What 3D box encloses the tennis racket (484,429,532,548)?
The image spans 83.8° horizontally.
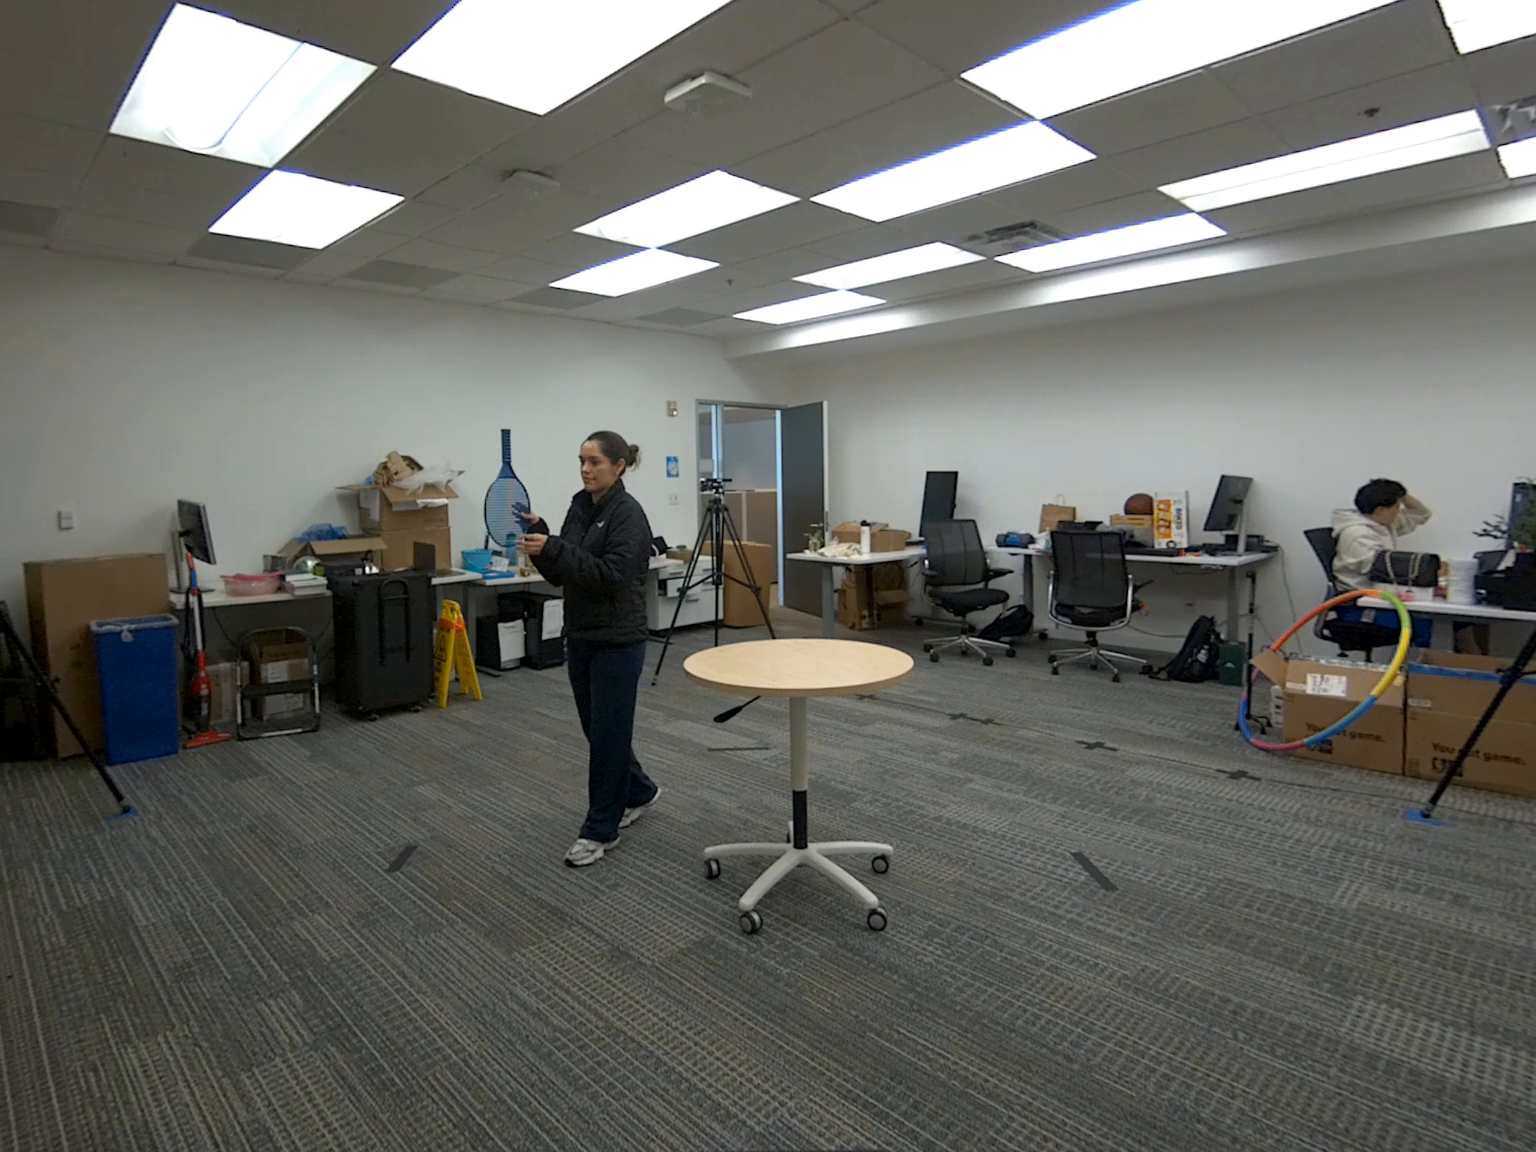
[{"bbox_3d":[-0.943,-0.319,3.136,0.032,0.431,0.210,-4,5,24],"label":"tennis racket"}]
